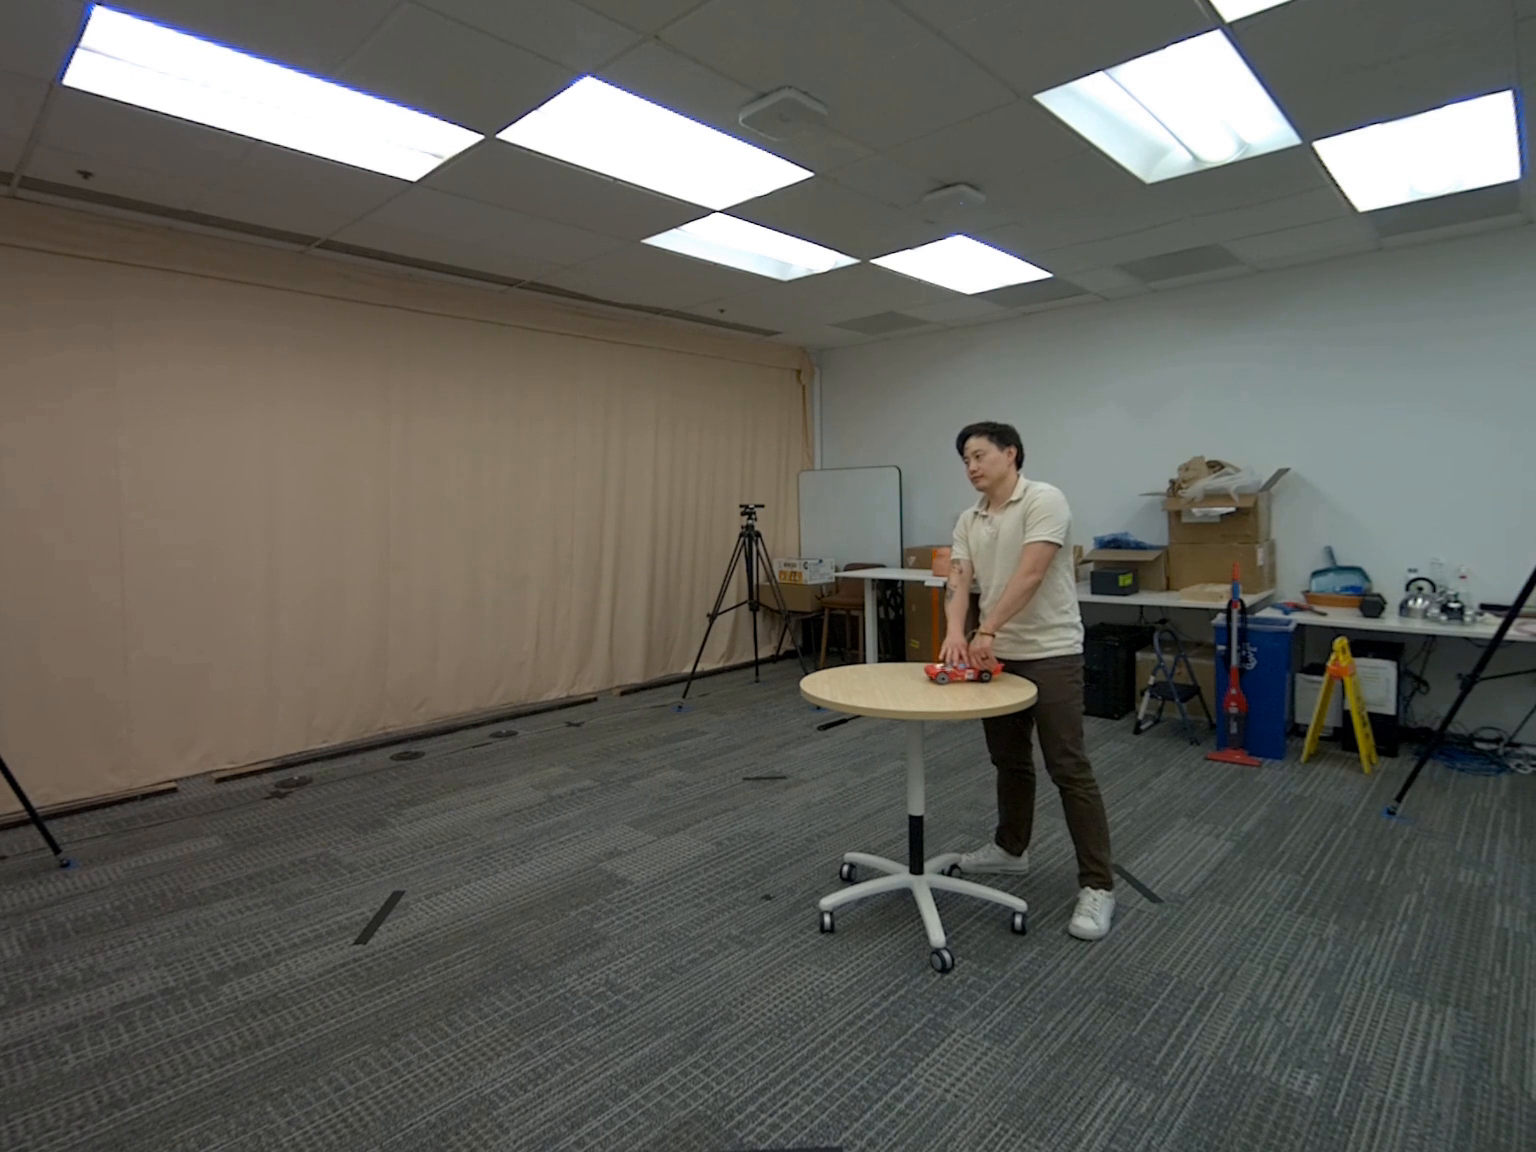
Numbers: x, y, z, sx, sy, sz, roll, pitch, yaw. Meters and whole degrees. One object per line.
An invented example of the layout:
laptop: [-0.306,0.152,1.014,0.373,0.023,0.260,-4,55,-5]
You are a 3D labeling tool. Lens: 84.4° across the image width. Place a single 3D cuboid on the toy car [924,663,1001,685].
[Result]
toy car: [0.674,0.327,2.846,0.254,0.083,0.131,-12,5,-1]
